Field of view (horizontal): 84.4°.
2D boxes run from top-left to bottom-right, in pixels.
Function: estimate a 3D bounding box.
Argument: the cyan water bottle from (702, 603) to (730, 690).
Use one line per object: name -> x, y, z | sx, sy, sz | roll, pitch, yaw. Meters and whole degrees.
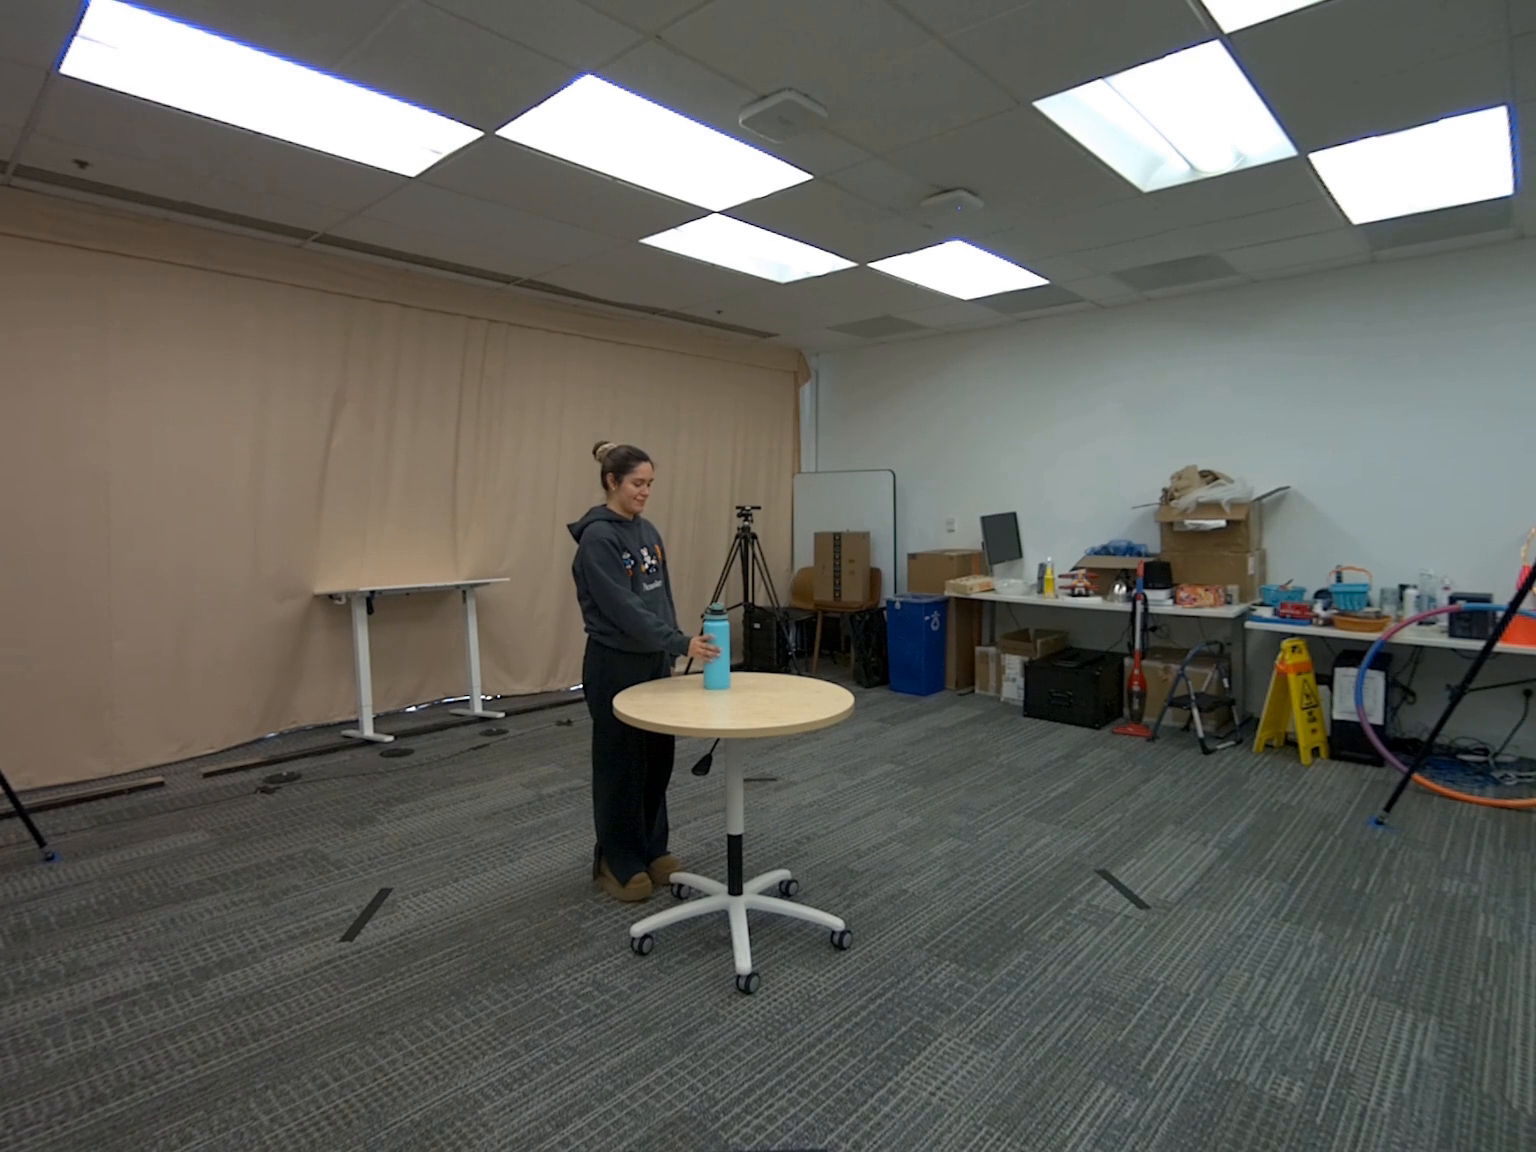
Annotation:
cyan water bottle -> -0.163, 0.237, 2.828 | 0.092, 0.283, 0.092 | -2, 1, -2
